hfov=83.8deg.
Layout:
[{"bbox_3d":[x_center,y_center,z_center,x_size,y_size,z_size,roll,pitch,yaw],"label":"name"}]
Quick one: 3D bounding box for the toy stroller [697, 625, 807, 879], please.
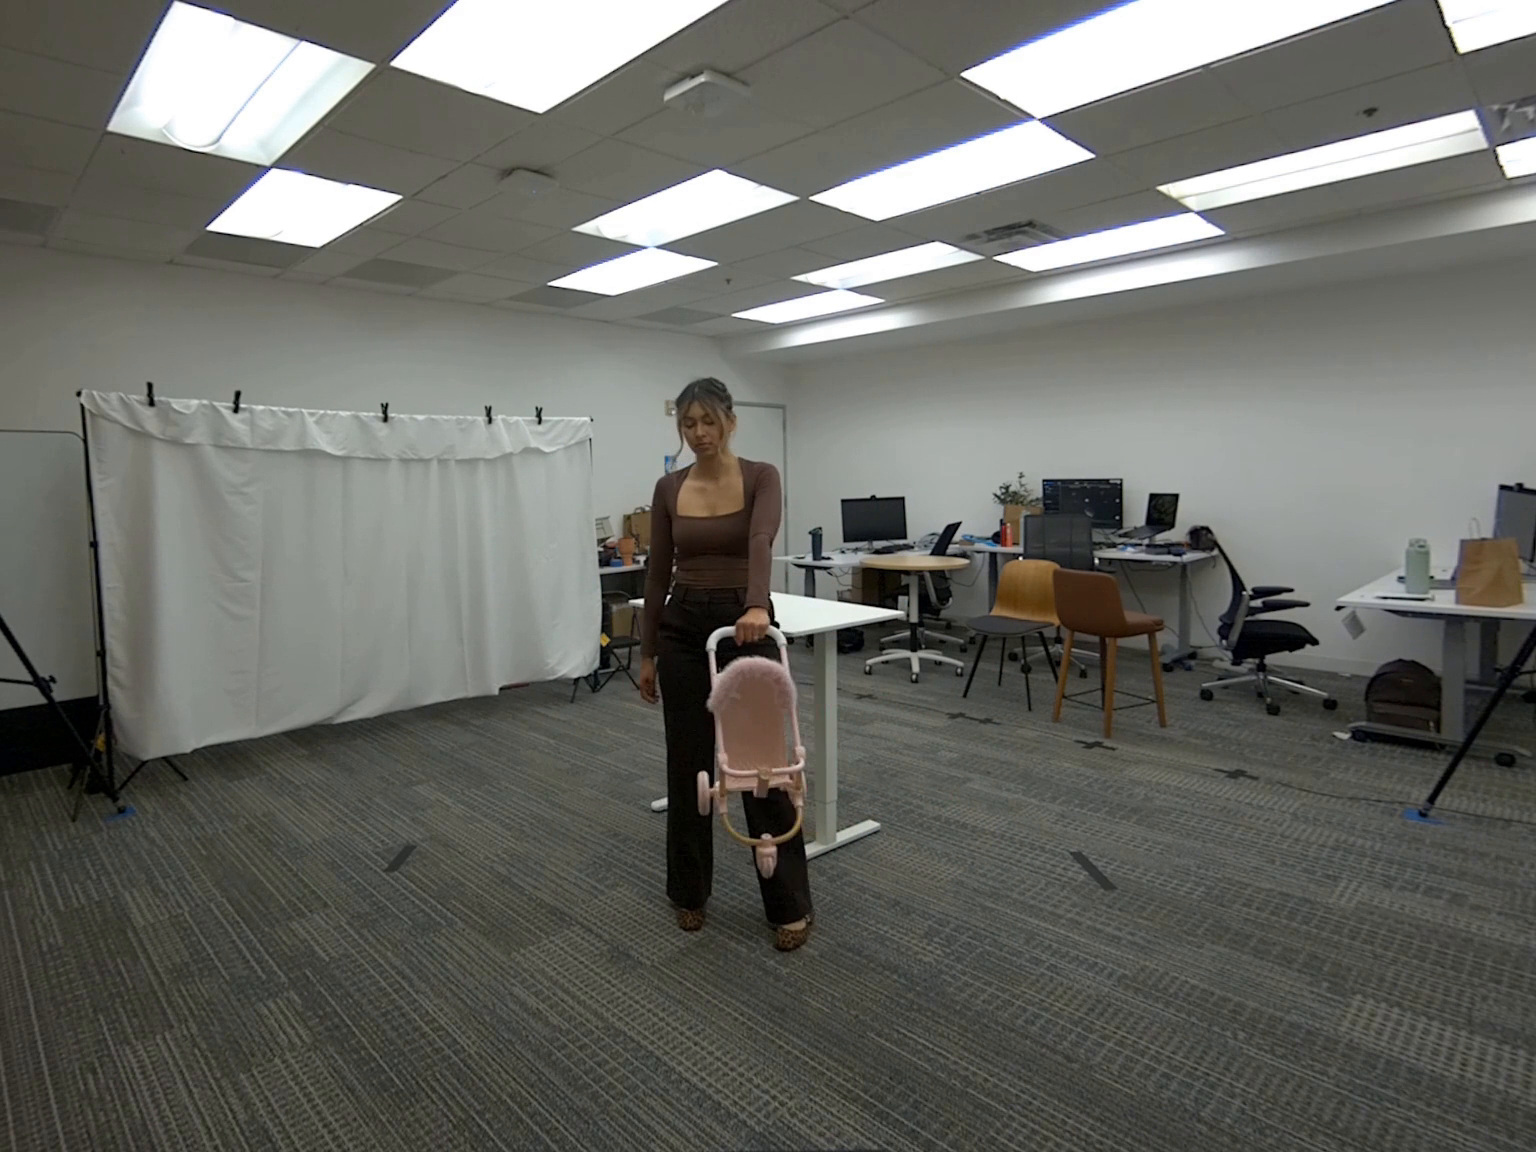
[{"bbox_3d":[-0.031,0.426,2.111,0.280,0.531,0.345,-2,7,-5],"label":"toy stroller"}]
